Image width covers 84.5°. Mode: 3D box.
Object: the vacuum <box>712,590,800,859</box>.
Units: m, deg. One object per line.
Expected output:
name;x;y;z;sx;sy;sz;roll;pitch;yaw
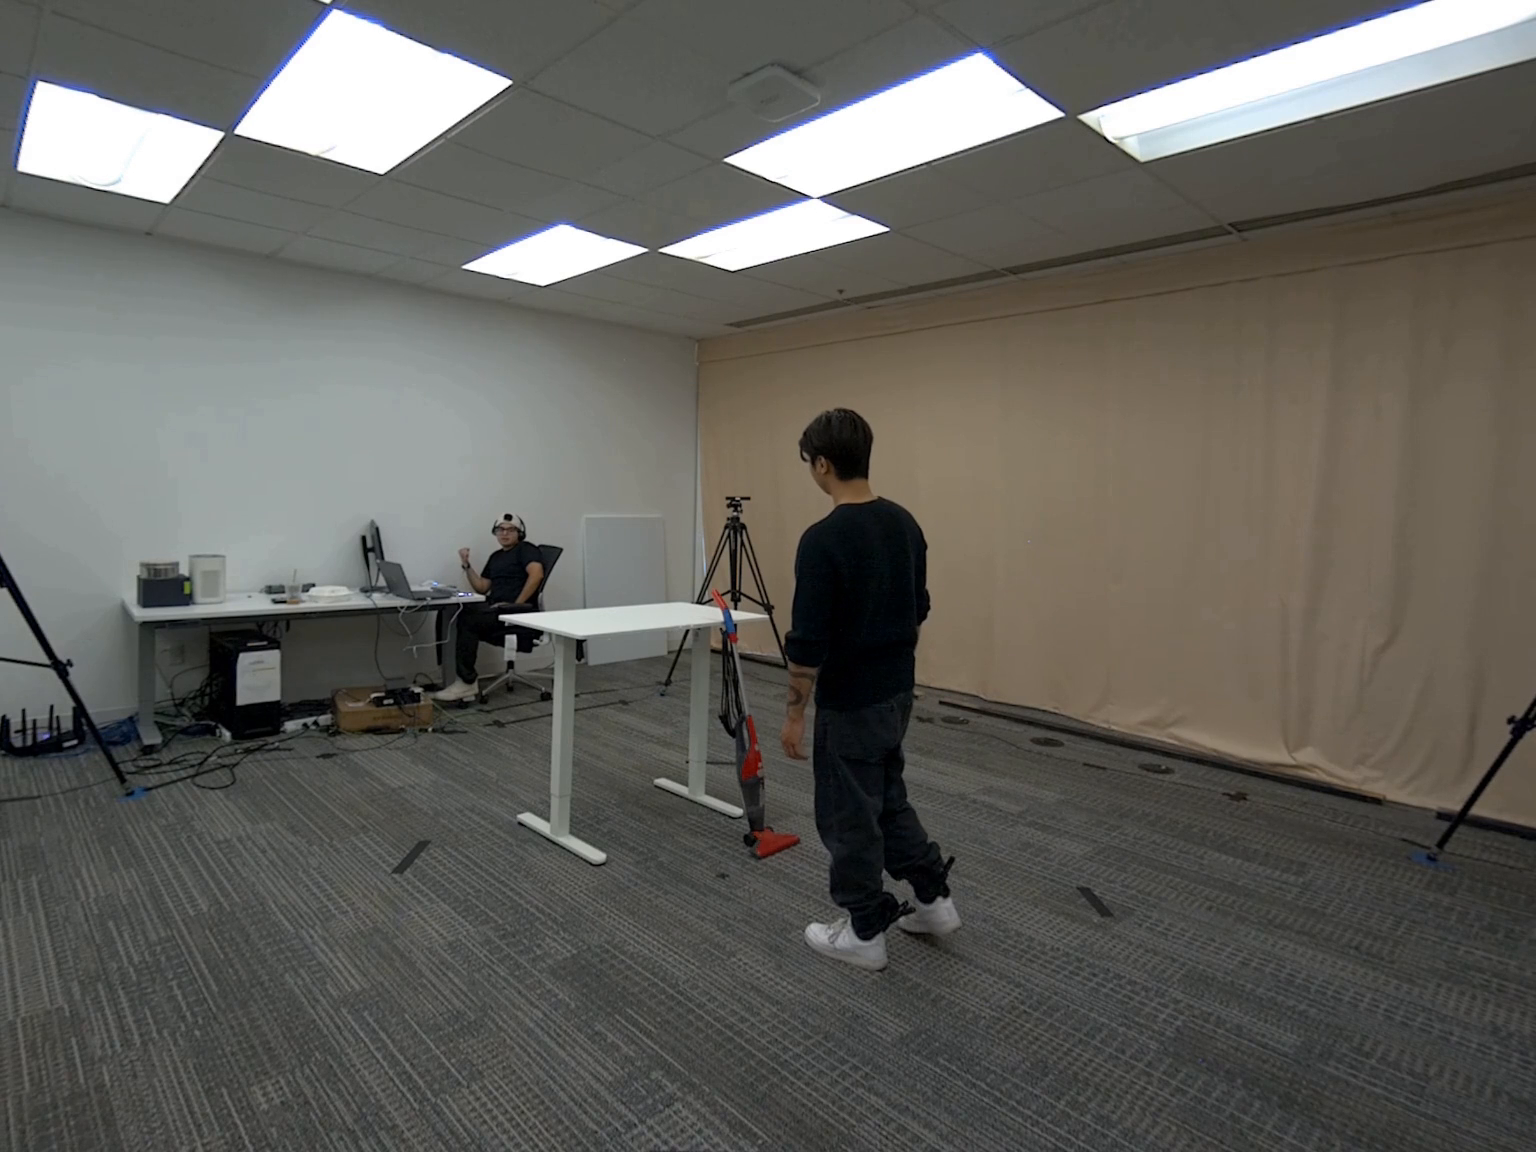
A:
vacuum;-0.119;0.580;3.482;0.146;1.060;0.246;-22;-15;40
